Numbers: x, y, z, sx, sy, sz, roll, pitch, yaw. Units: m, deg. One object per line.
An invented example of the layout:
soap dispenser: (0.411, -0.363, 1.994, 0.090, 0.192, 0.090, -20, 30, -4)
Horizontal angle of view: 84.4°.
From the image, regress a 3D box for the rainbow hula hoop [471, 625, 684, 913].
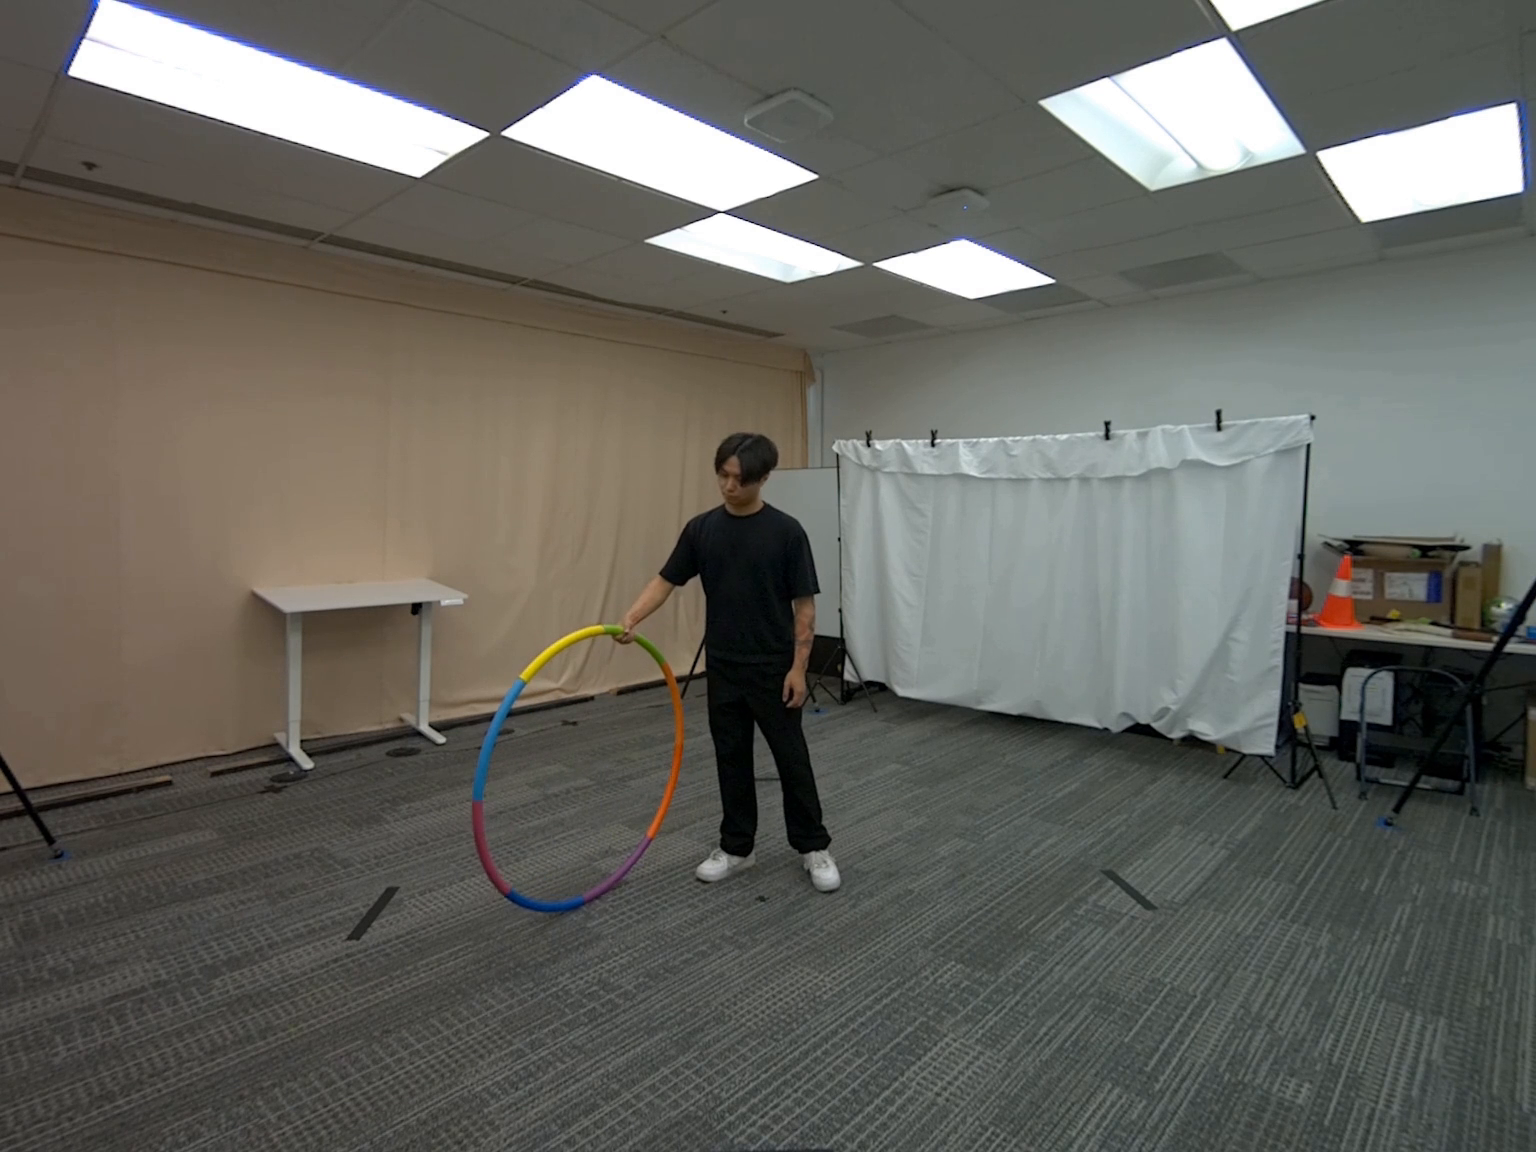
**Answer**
rainbow hula hoop: (-0.616, 0.667, 2.925, 0.037, 0.975, 0.951, 7, 7, 34)
